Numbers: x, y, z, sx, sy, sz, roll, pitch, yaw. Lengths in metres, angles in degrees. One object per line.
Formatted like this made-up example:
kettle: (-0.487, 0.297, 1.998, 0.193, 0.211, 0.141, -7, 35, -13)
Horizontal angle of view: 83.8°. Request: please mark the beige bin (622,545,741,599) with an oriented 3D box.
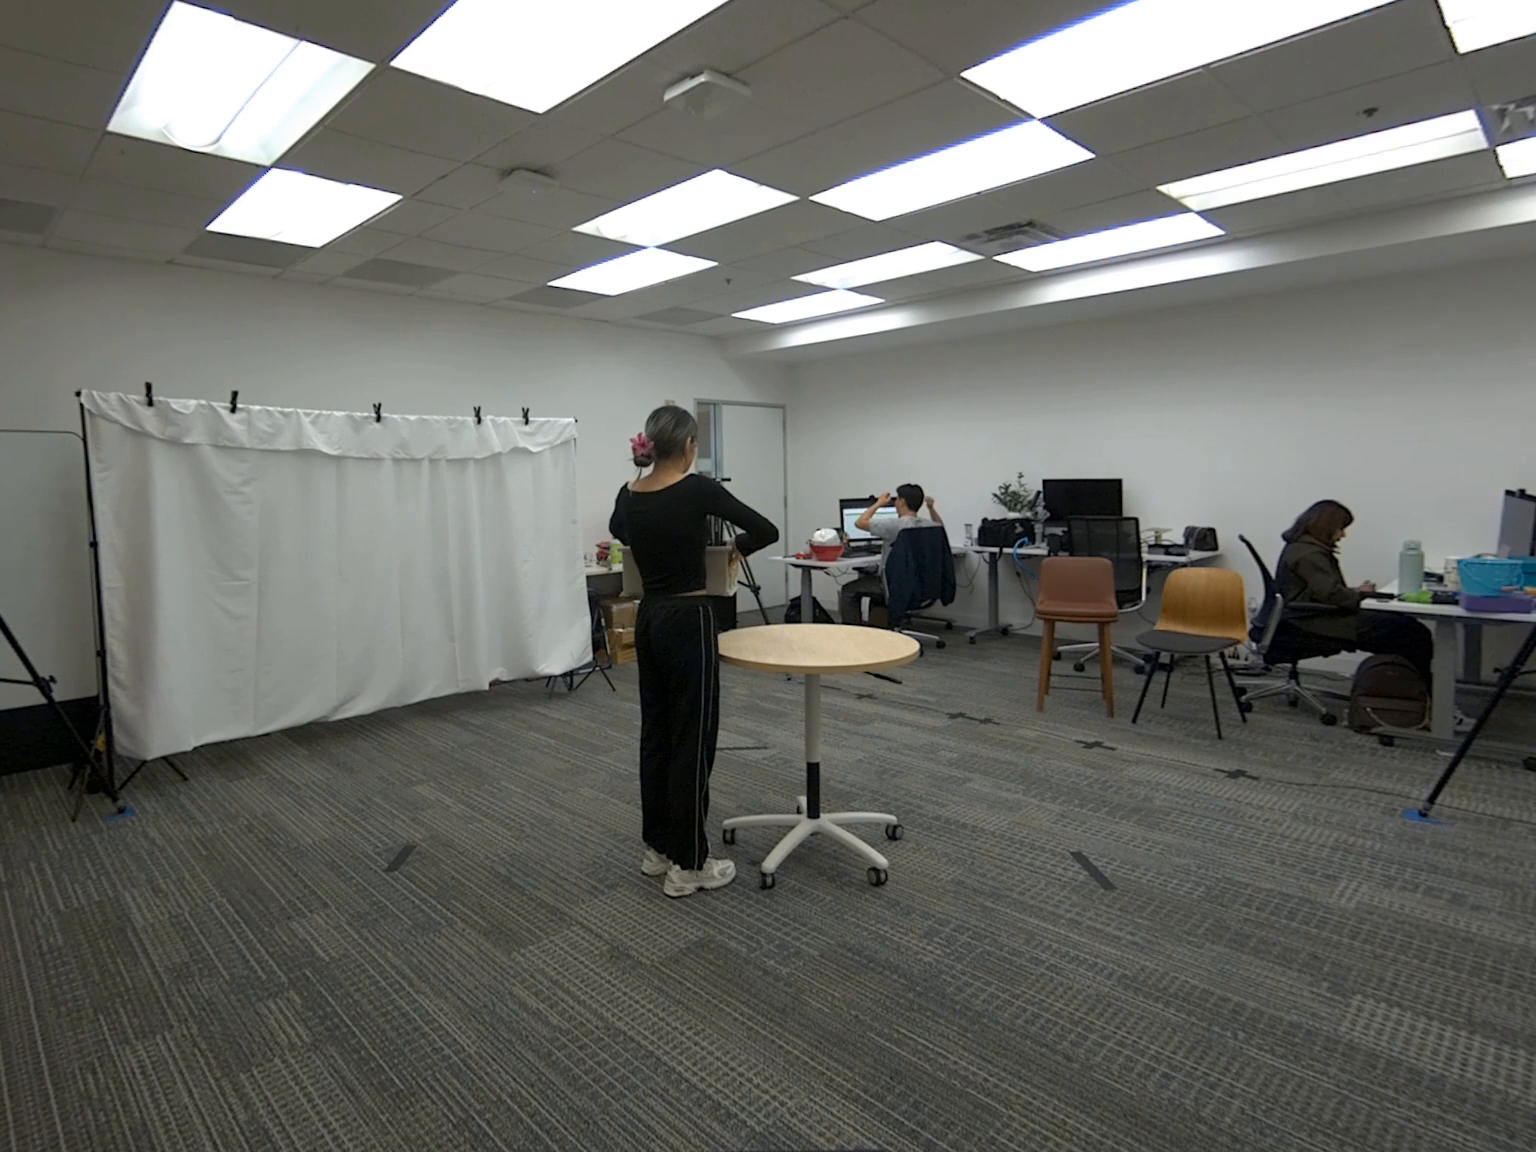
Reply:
beige bin: (-0.334, -0.028, 3.281, 0.423, 0.188, 0.378, -1, 5, 2)
